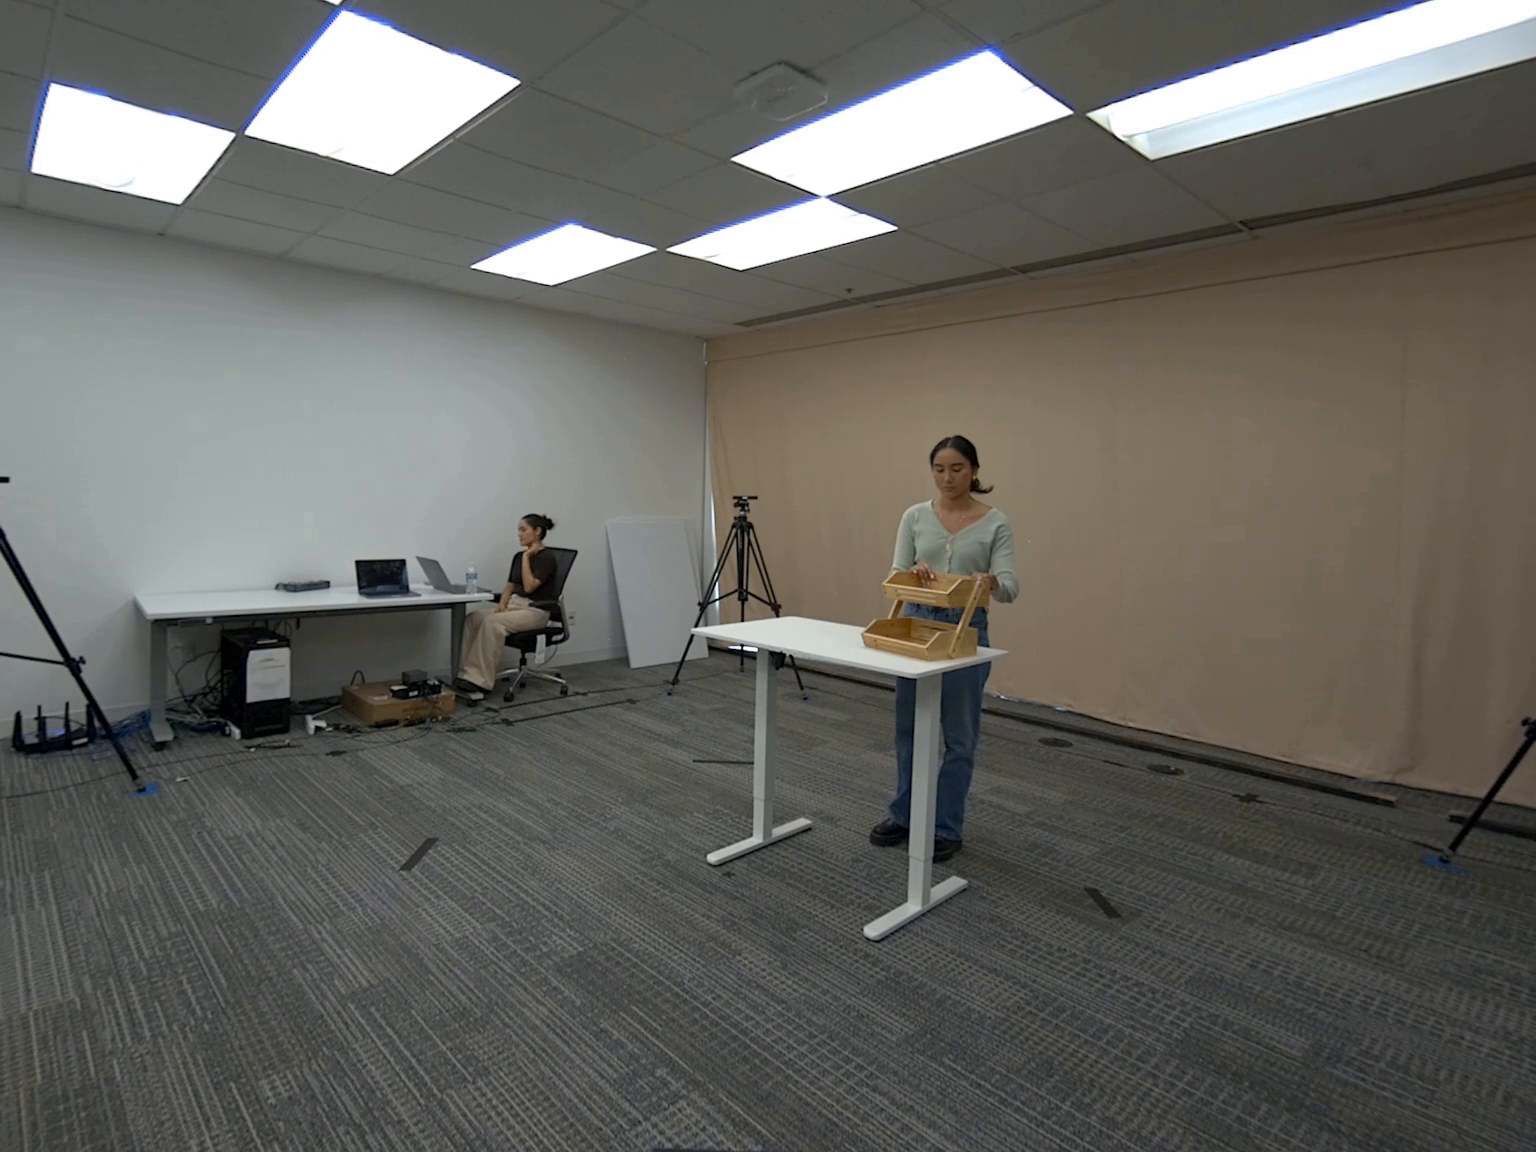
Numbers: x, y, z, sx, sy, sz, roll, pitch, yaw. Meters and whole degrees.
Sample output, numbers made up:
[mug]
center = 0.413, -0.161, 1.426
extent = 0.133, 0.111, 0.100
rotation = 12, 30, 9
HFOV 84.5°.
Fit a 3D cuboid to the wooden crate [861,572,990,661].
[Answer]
[wooden crate]
center = 0.532, 0.127, 2.892
extent = 0.295, 0.272, 0.332
rotation = -1, 5, -36
